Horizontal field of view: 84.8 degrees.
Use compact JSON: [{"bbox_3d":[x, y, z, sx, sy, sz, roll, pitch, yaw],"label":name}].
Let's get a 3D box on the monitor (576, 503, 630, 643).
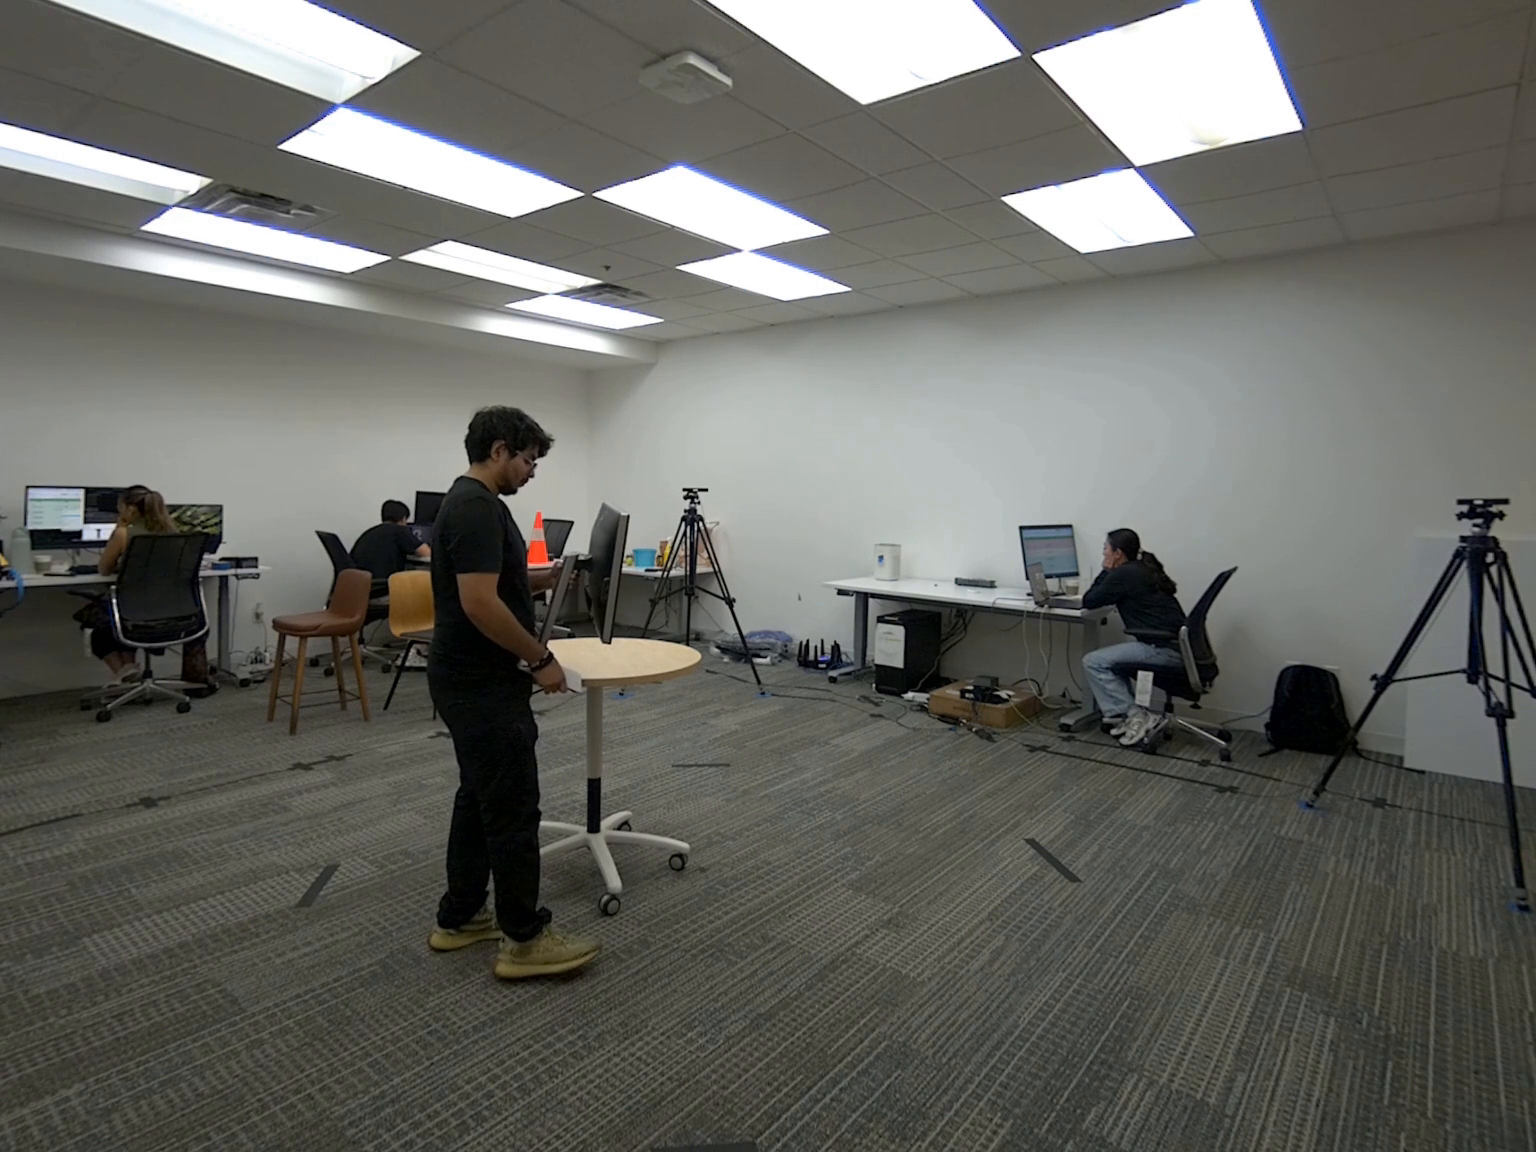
[{"bbox_3d":[-0.590,0.044,2.566,0.206,0.553,0.578,15,3,-18],"label":"monitor"}]
